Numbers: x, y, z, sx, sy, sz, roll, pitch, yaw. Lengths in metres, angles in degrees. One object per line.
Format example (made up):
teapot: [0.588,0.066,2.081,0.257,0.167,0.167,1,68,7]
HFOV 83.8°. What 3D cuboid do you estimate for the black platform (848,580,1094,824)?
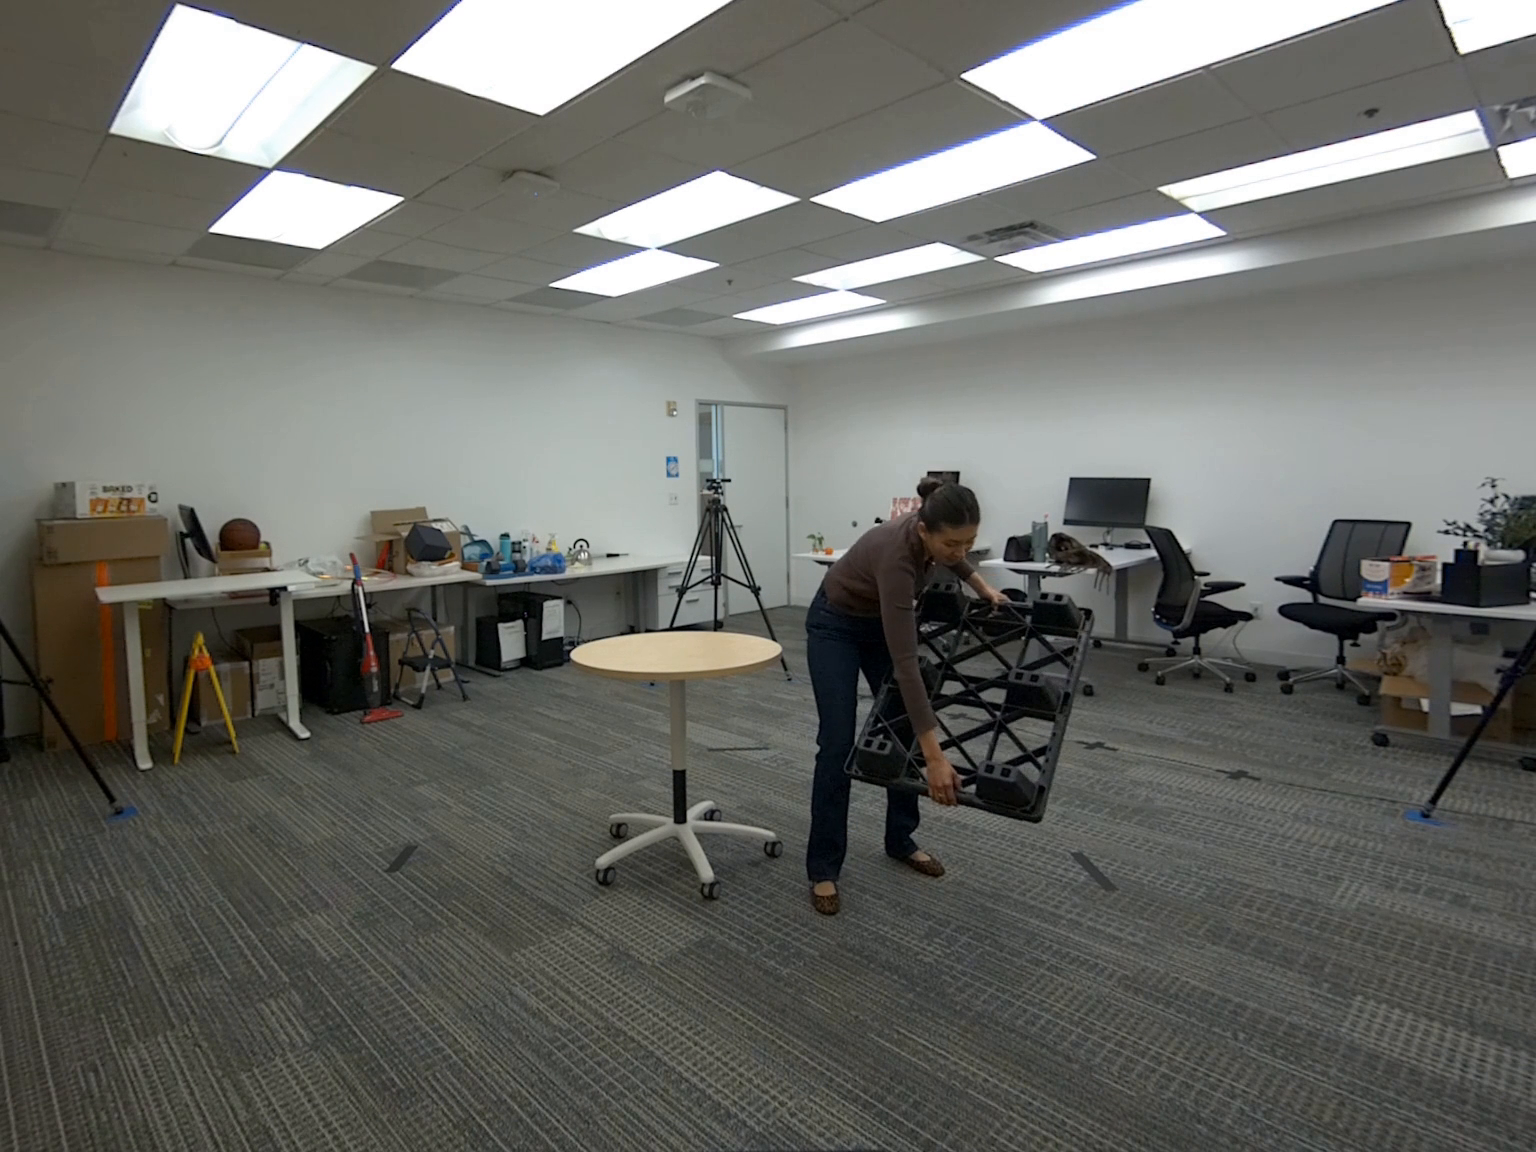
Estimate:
black platform: [0.657,0.339,2.736,0.622,0.138,0.811,5,46,32]
